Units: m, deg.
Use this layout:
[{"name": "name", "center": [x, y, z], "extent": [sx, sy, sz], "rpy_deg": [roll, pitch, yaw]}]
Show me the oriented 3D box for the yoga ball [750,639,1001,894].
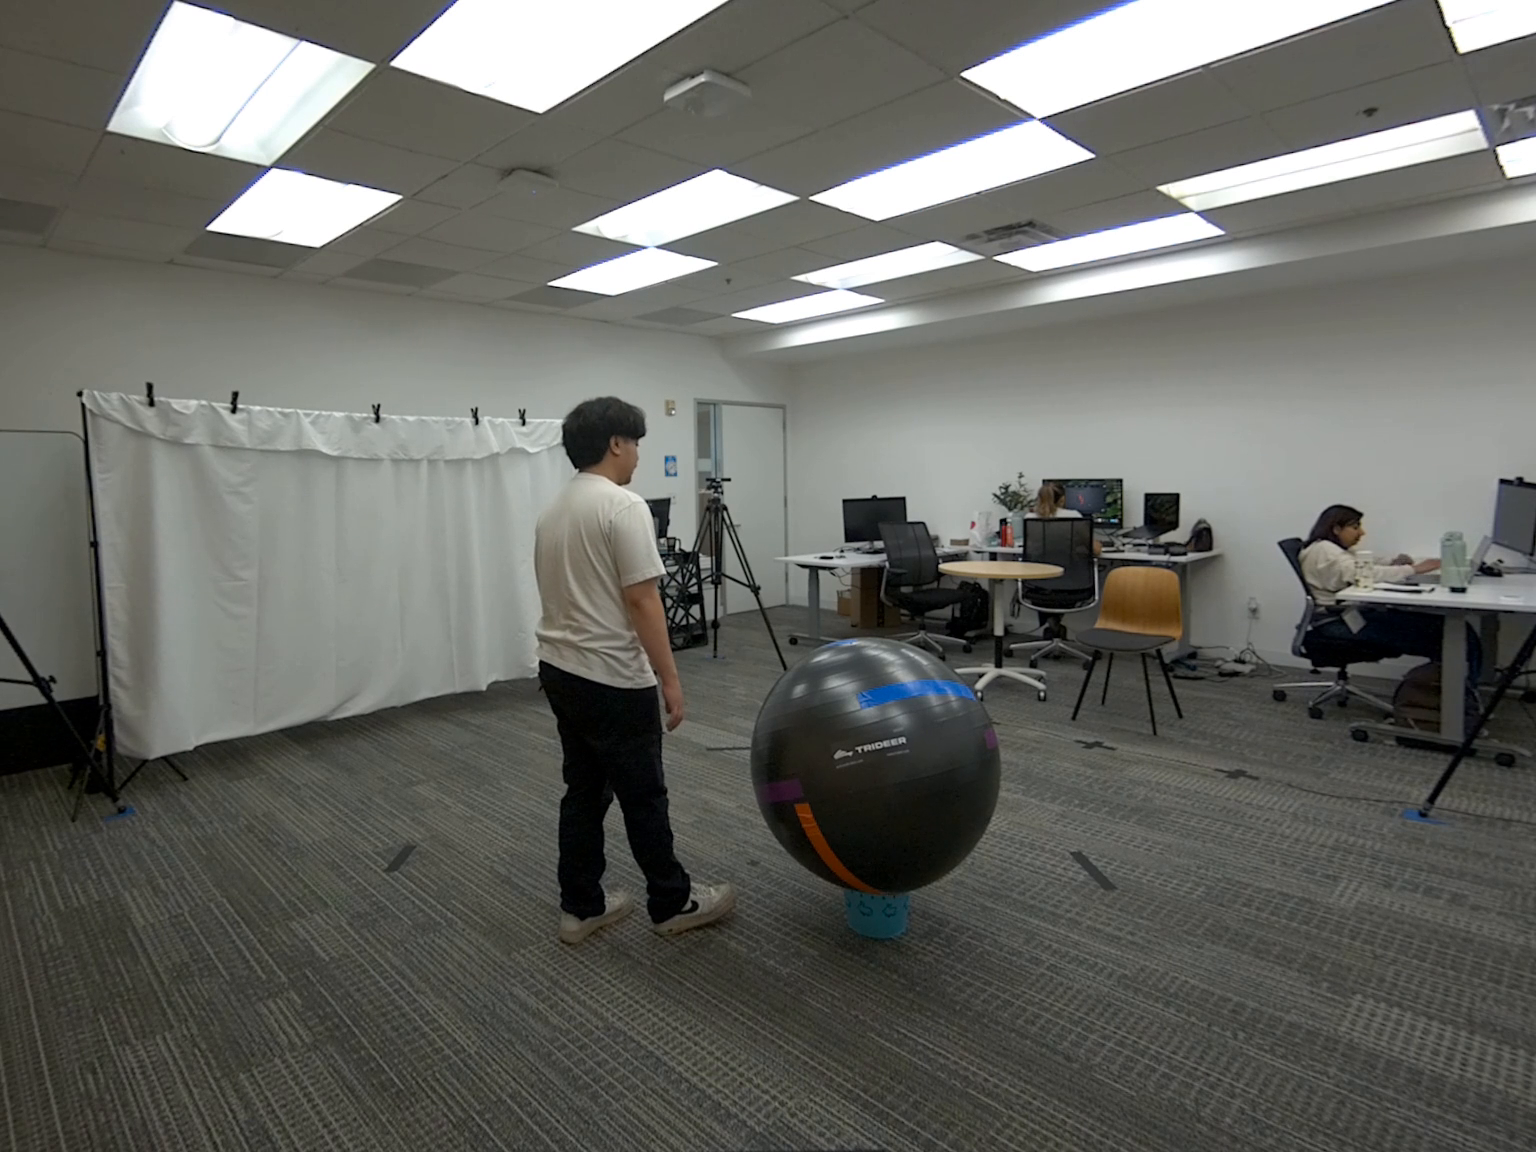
[{"name": "yoga ball", "center": [0.329, 0.575, 2.642], "extent": [0.757, 0.755, 0.762], "rpy_deg": [-1, 5, -2]}]
